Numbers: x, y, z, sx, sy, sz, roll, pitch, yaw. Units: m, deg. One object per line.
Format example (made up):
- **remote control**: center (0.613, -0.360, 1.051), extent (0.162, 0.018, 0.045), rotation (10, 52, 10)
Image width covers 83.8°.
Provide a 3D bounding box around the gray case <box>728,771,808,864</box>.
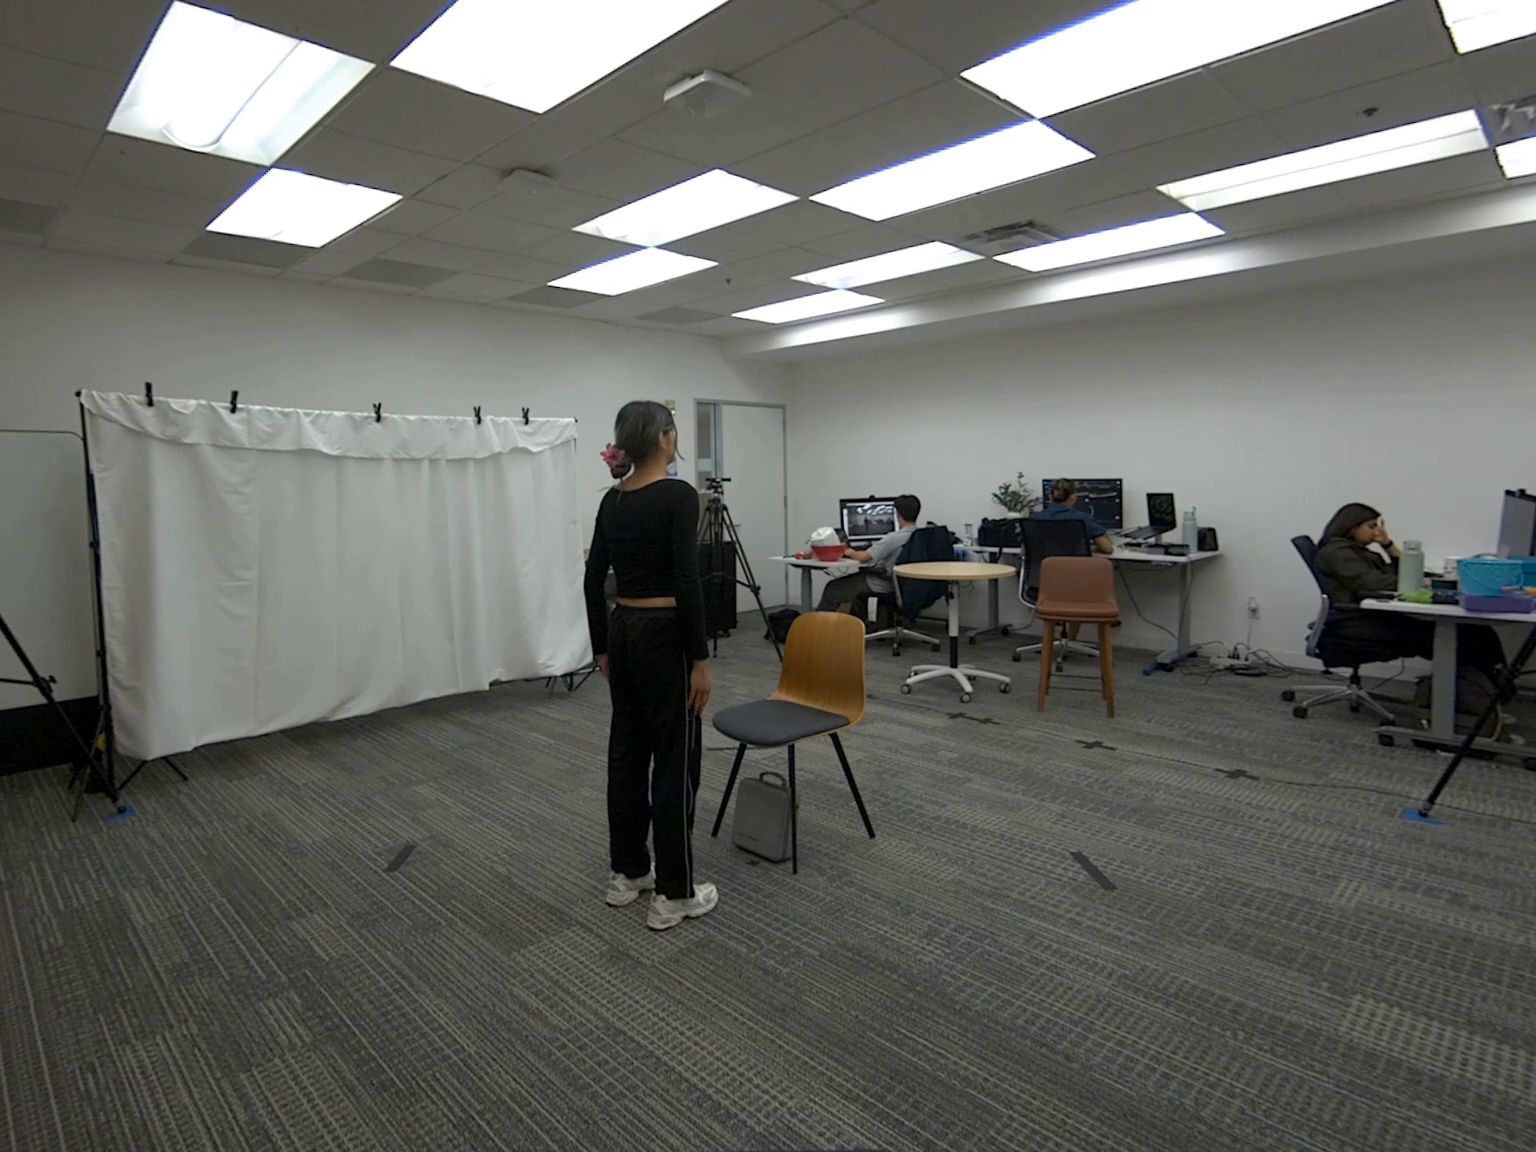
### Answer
- **gray case**: center (-0.004, 0.893, 3.197), extent (0.265, 0.261, 0.101), rotation (5, -6, 45)
